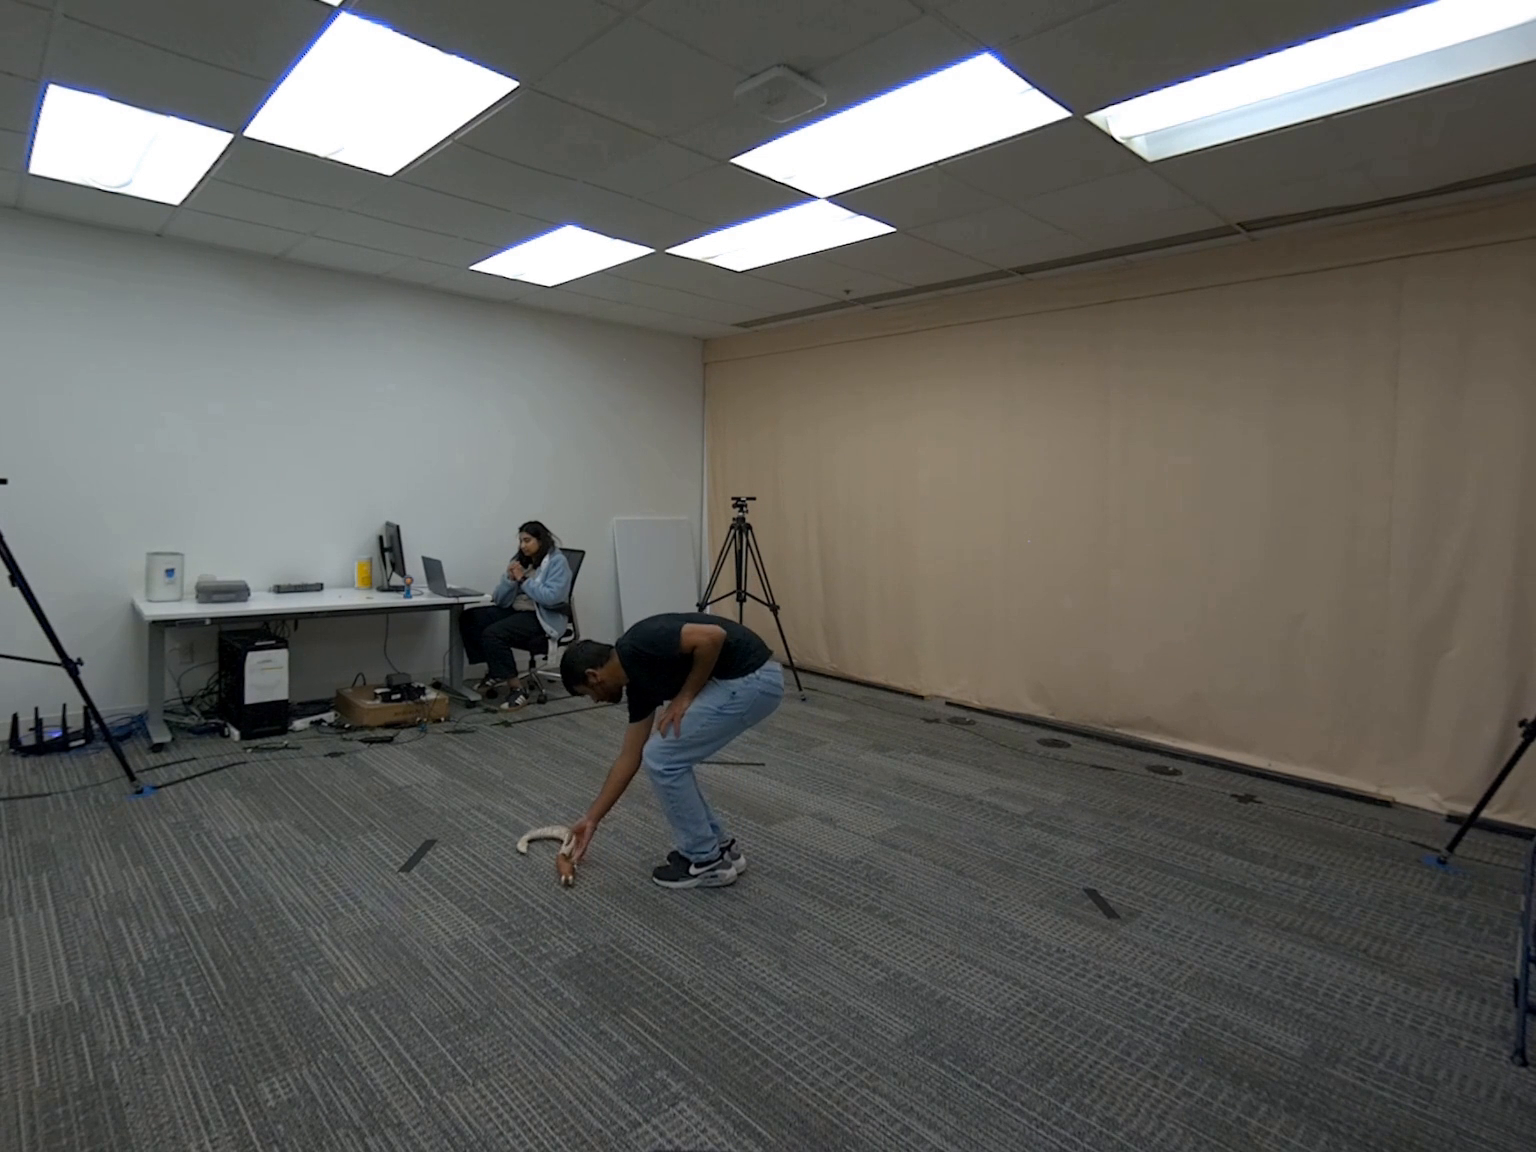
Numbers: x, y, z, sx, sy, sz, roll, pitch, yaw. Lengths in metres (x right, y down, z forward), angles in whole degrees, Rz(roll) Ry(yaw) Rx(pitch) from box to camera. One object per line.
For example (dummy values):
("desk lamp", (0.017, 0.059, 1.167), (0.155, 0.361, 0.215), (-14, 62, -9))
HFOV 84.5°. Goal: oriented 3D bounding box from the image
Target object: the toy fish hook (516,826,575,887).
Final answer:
("toy fish hook", (-0.835, 1.060, 3.195), (0.222, 0.048, 0.515), (-6, 6, -18))
